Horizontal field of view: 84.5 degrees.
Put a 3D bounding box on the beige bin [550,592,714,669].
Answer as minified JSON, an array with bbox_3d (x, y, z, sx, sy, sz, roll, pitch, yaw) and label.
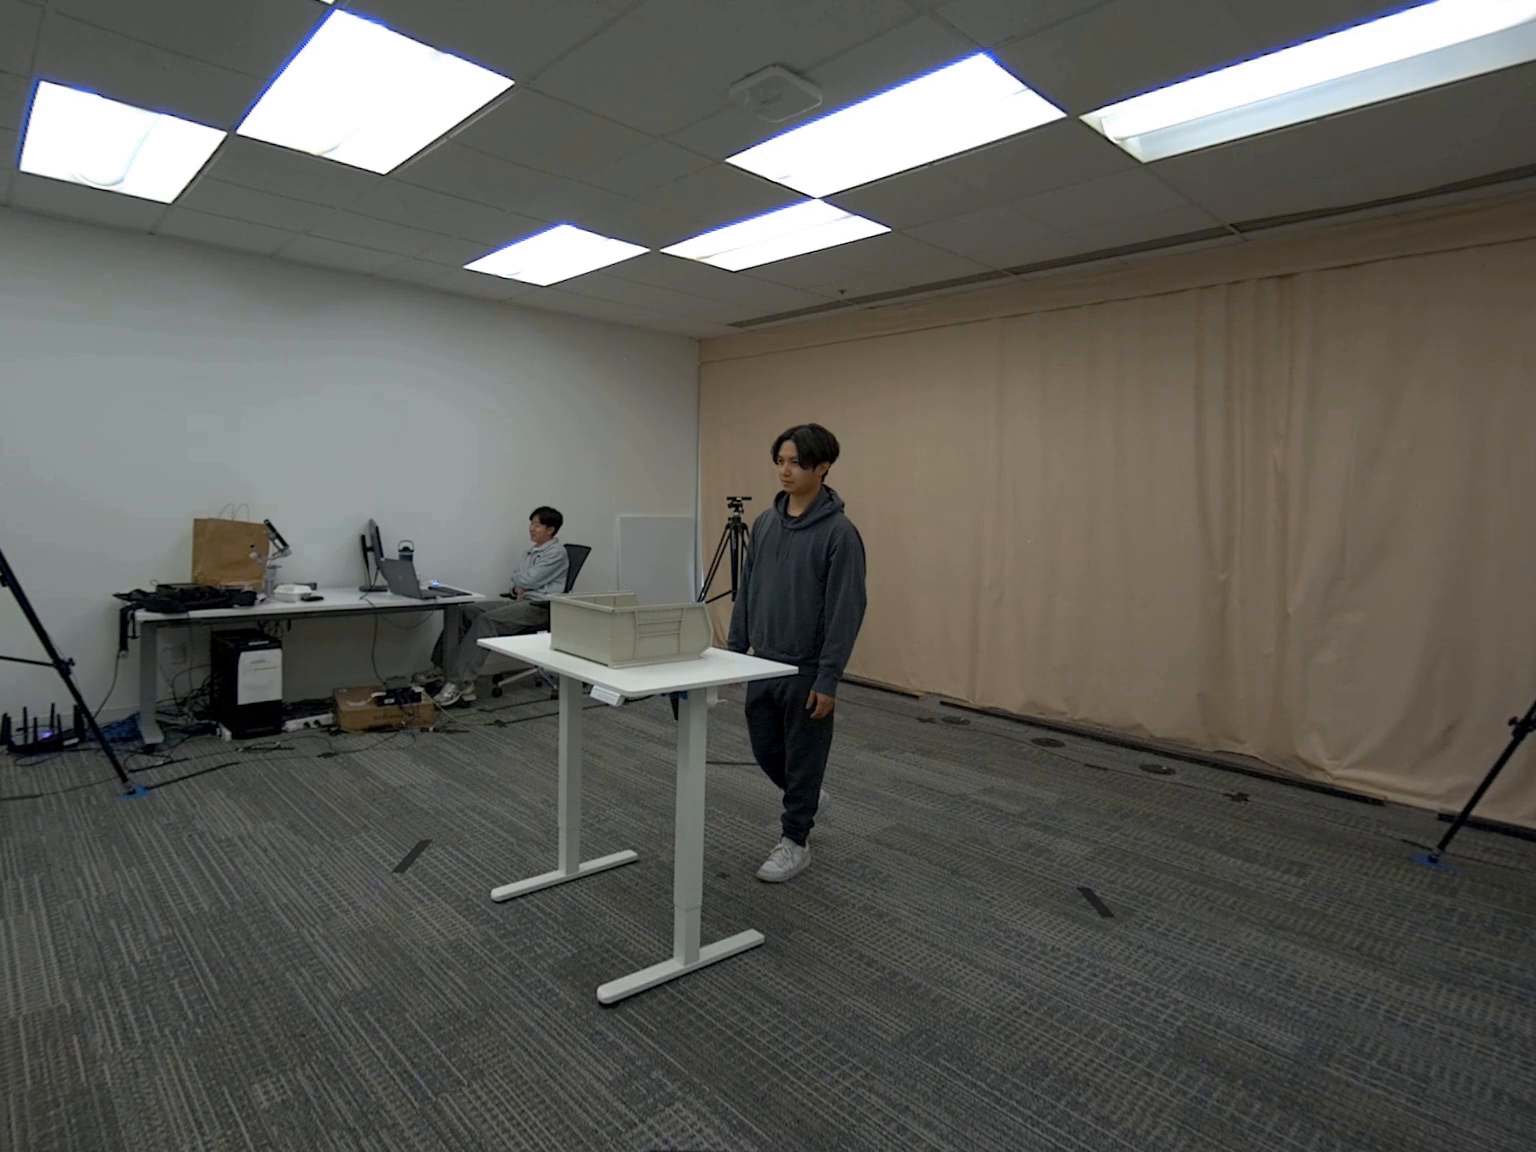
[{"bbox_3d":[-0.456,0.165,2.706,0.369,0.188,0.433,-3,6,-40],"label":"beige bin"}]
